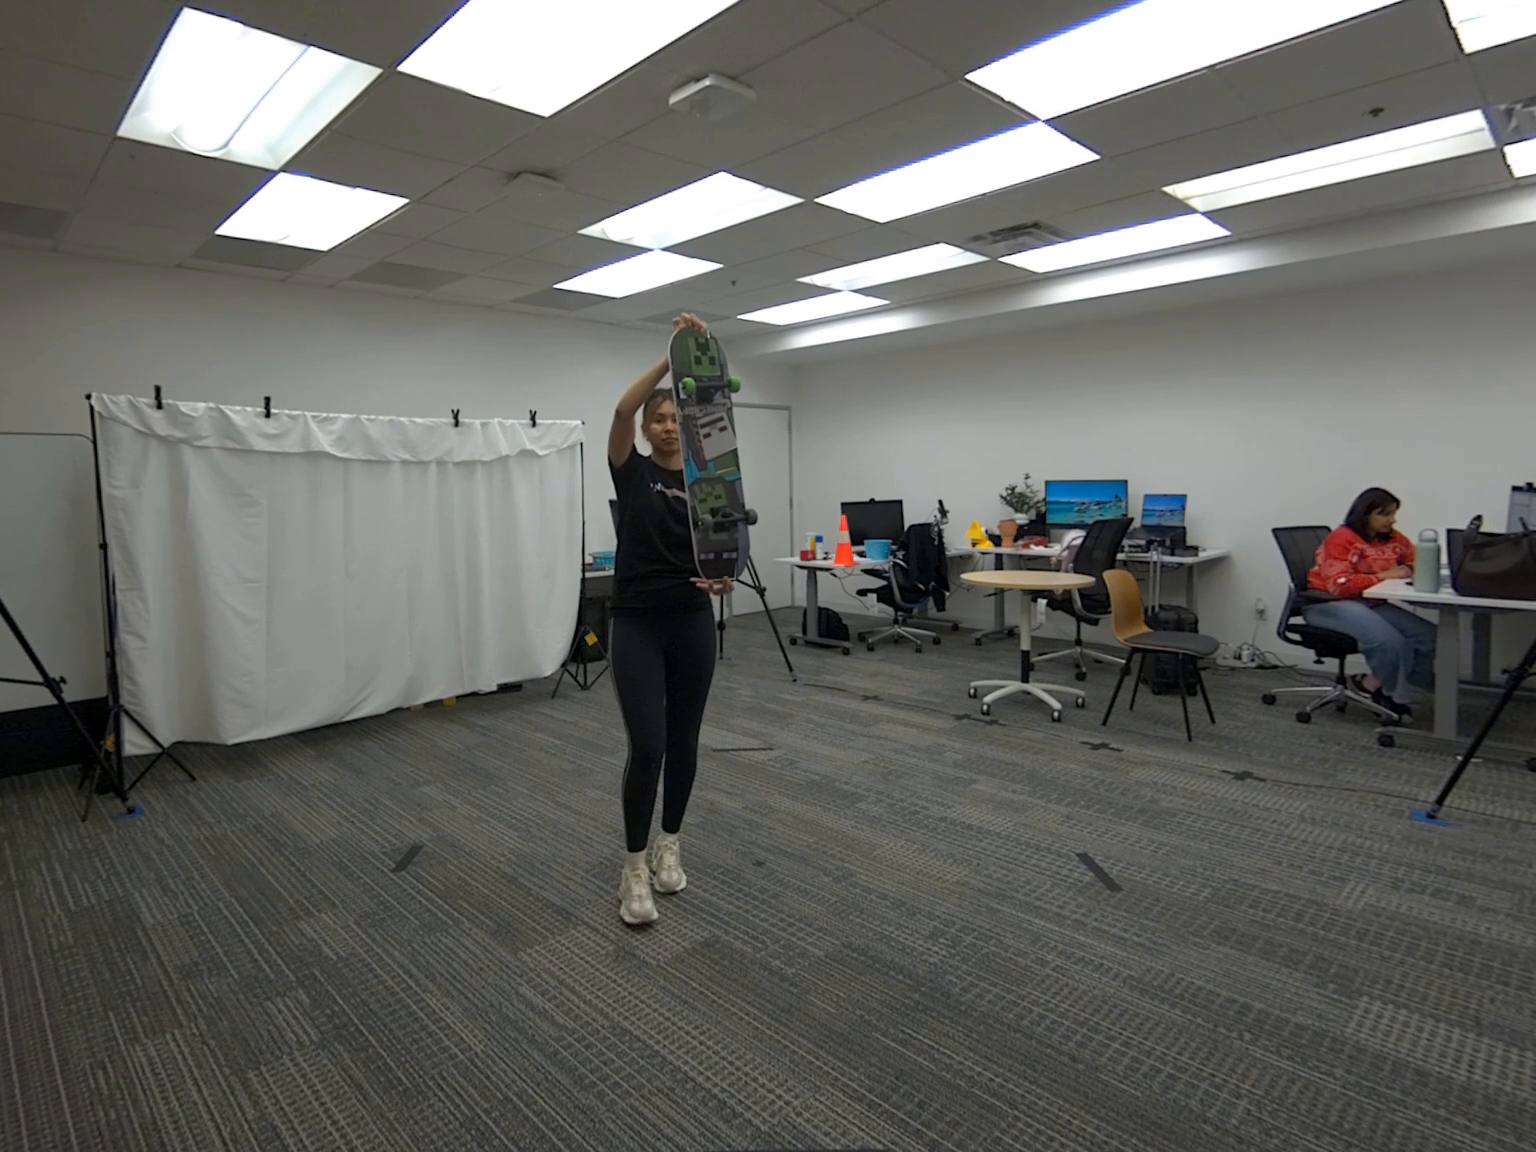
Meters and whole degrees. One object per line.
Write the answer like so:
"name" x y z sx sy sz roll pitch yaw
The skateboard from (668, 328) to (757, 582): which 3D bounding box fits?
"skateboard" -0.155 -0.359 2.541 0.189 0.783 0.113 -9 3 -30
